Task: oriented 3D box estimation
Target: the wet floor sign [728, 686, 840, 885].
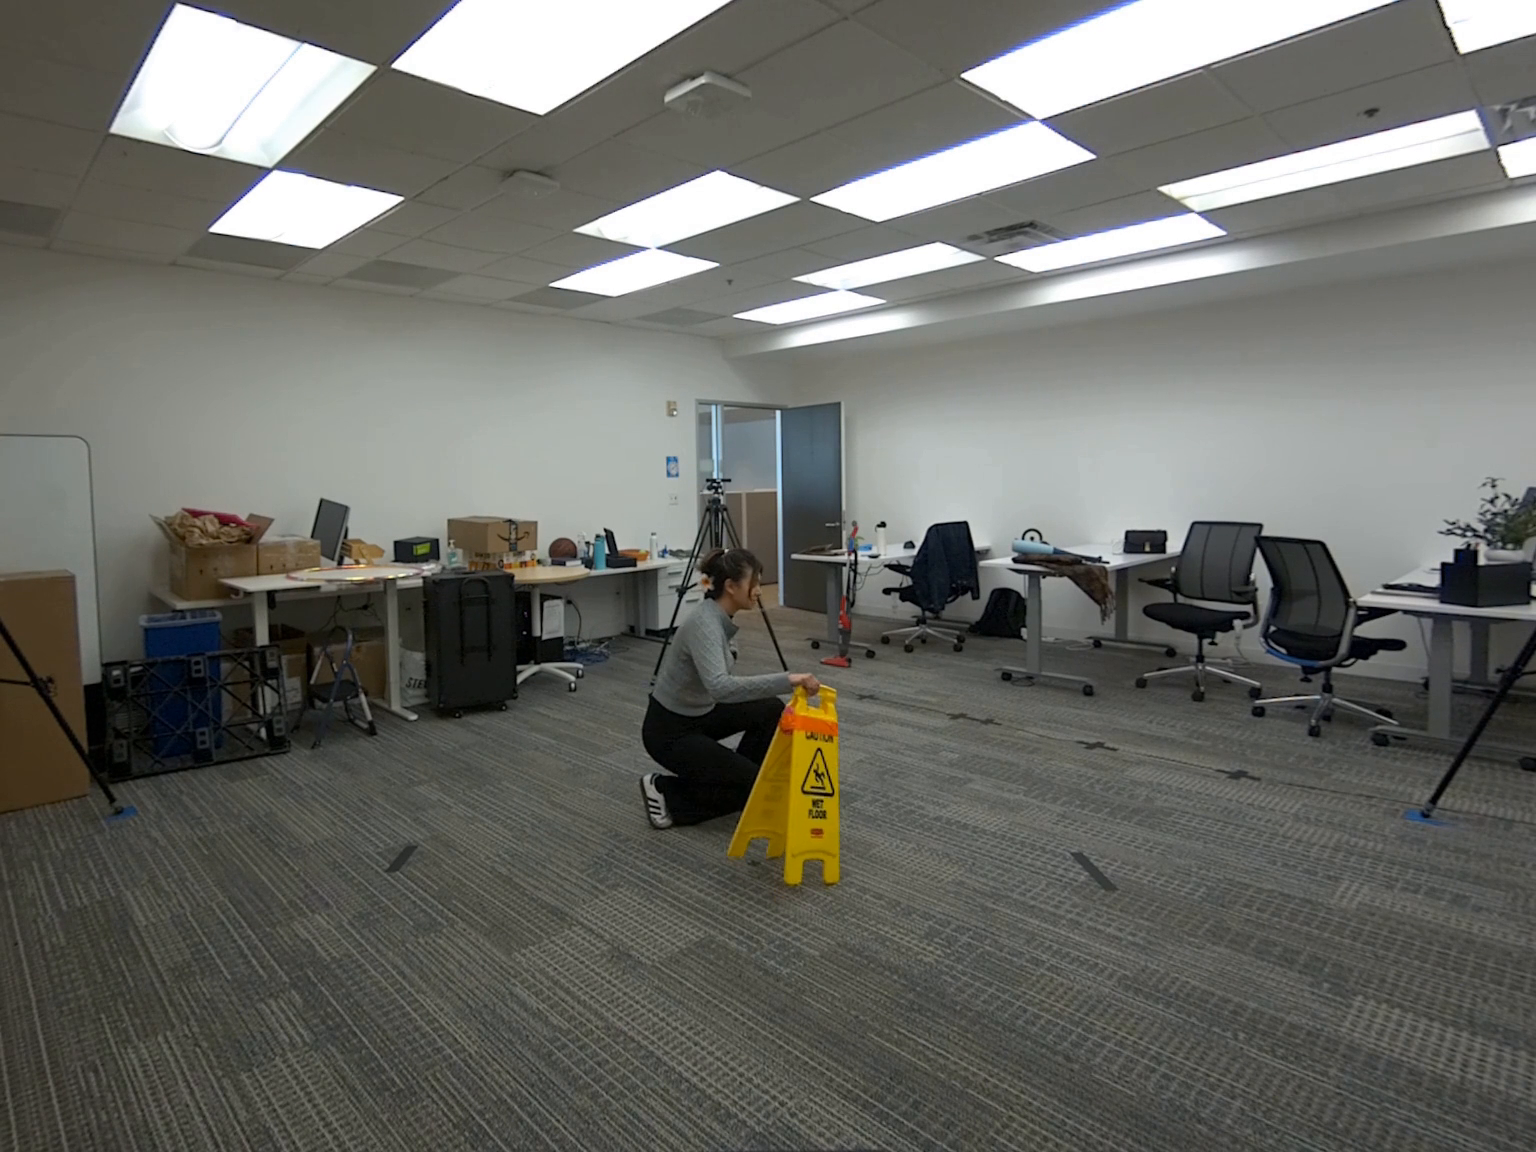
[{"bbox_3d":[0.120,0.708,3.021,0.272,0.650,0.298,19,-11,-42],"label":"wet floor sign"}]
